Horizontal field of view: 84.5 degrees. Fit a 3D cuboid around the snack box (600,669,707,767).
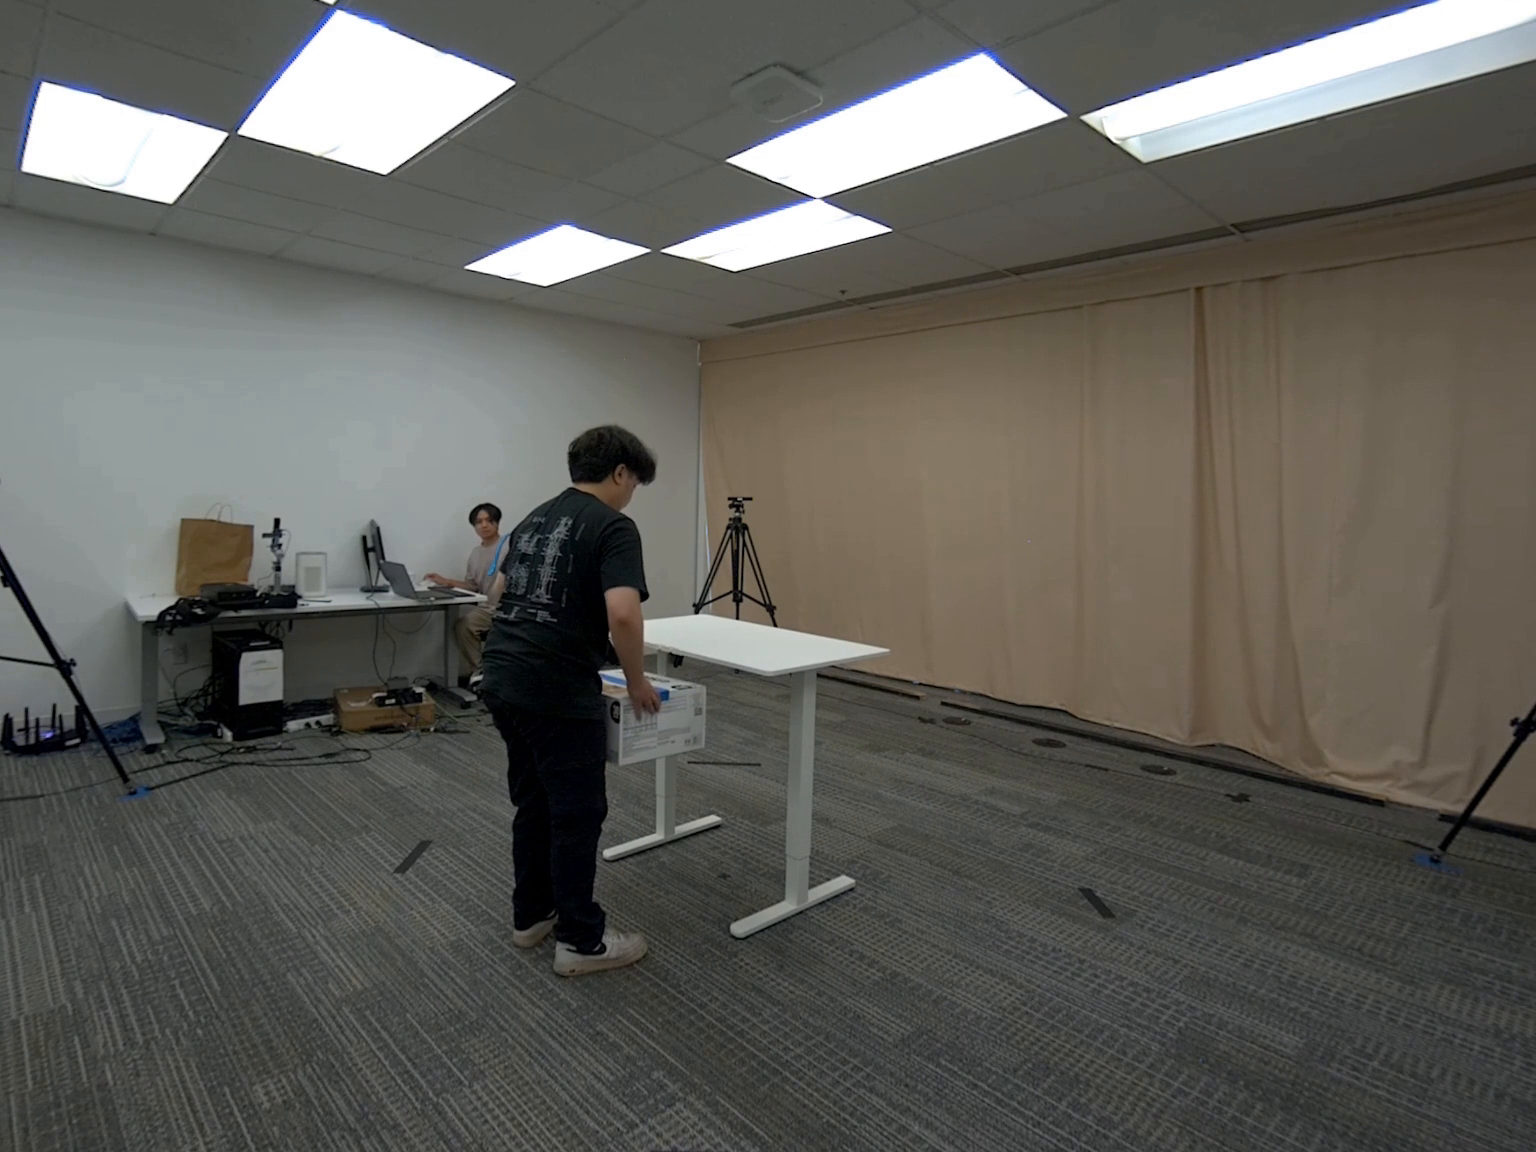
[{"bbox_3d":[-0.469,0.446,2.722,0.332,0.205,0.415,-2,4,-45],"label":"snack box"}]
